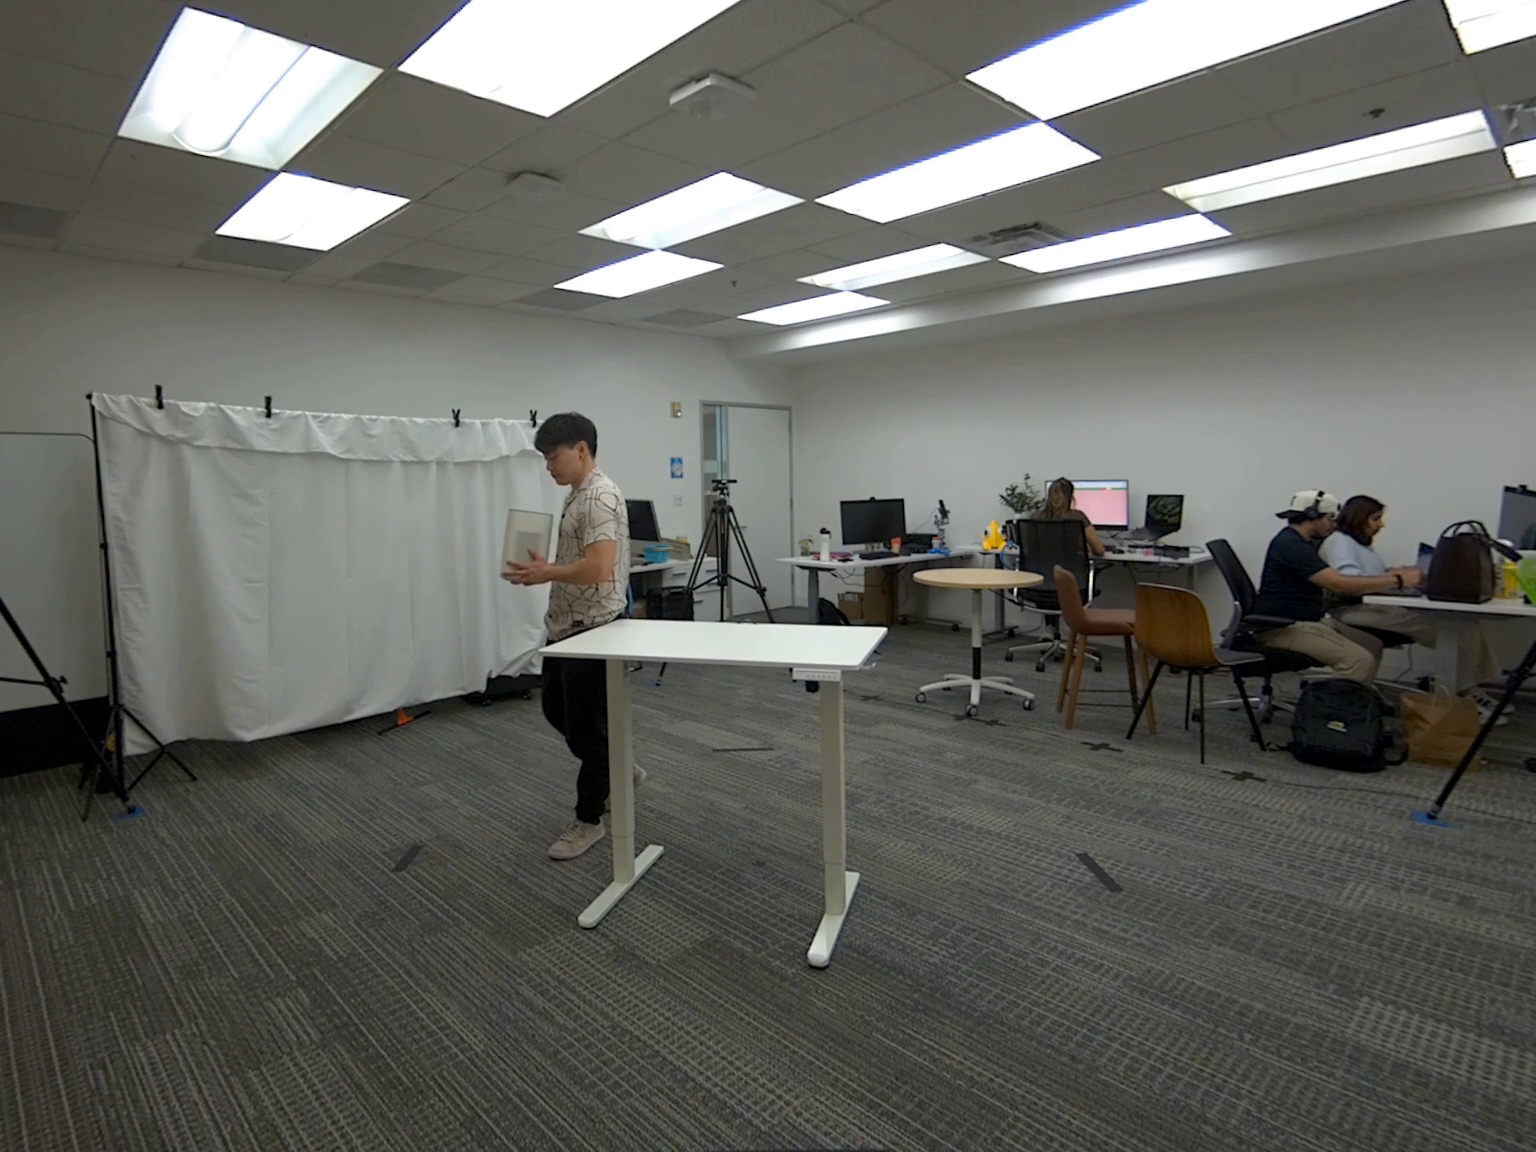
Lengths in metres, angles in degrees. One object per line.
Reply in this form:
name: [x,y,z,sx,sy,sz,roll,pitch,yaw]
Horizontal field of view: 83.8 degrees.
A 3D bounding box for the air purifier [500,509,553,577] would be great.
air purifier: [-0.910,-0.112,3.263,0.167,0.266,0.175,6,-3,-25]
